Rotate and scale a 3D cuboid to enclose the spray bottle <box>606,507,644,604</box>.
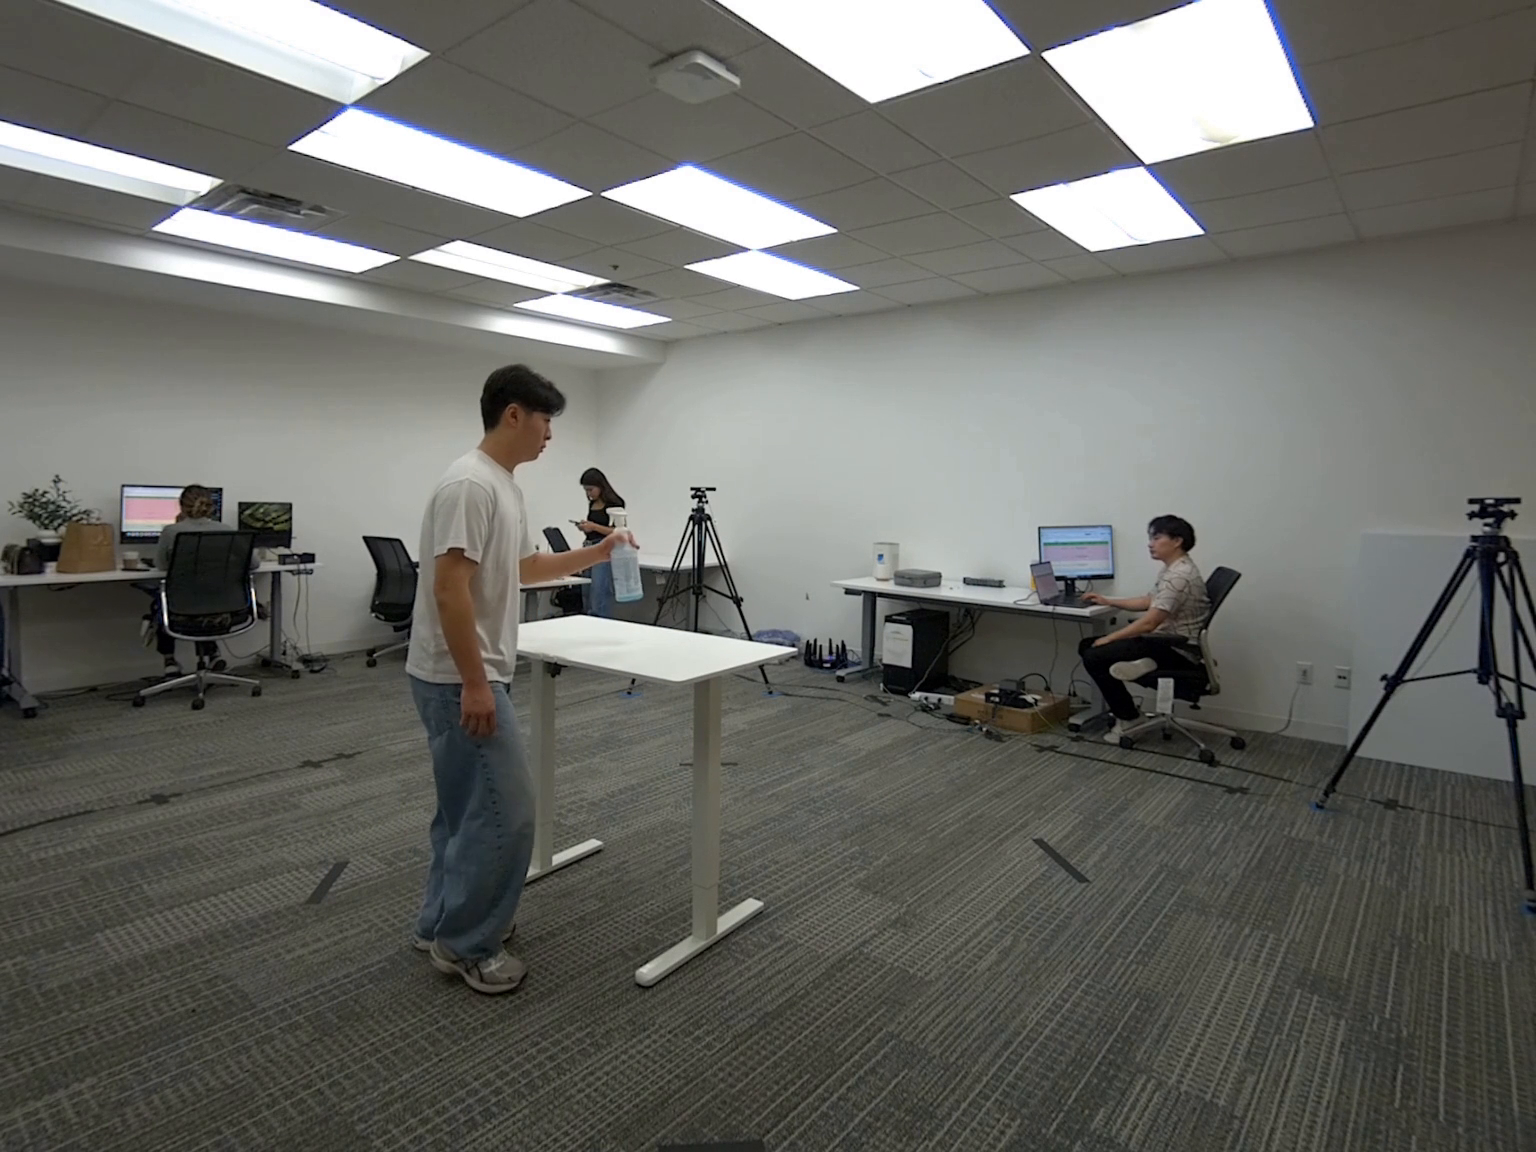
[{"bbox_3d":[-0.464,-0.058,2.702,0.088,0.296,0.089,-10,4,-33],"label":"spray bottle"}]
